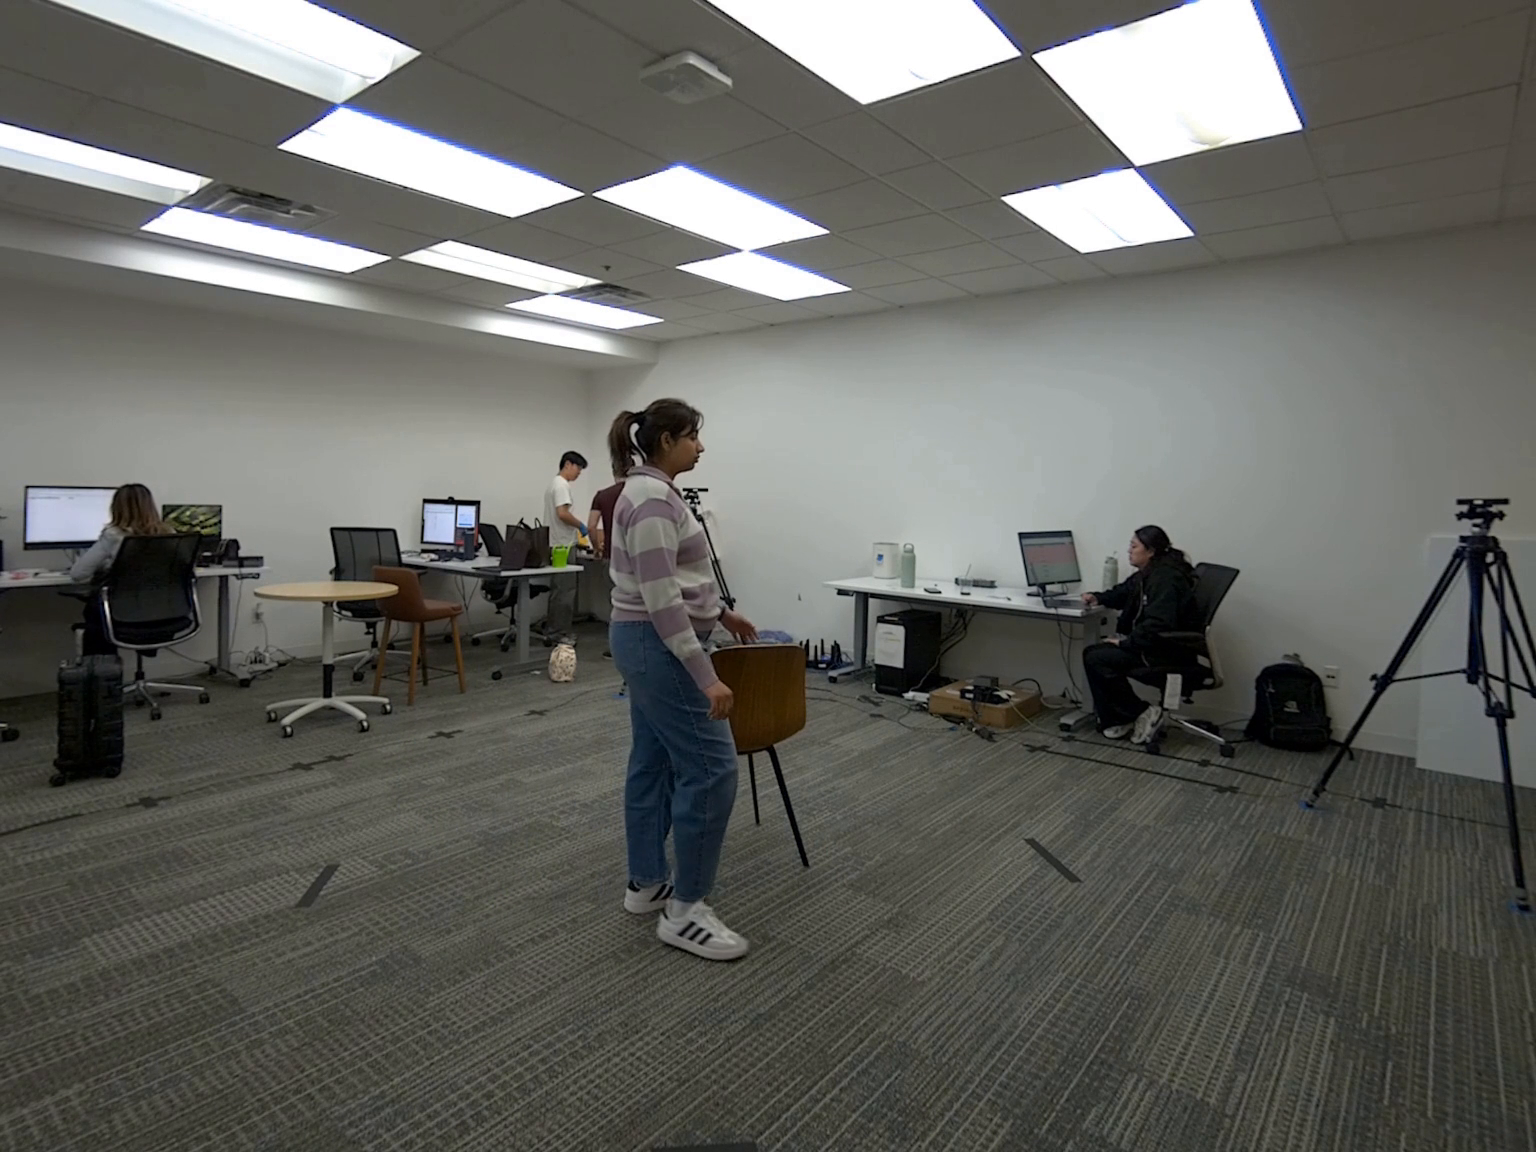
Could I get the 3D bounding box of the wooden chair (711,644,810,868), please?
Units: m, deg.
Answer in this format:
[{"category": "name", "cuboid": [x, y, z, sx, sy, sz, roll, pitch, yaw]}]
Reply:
[{"category": "wooden chair", "cuboid": [-0.152, 0.629, 3.254, 0.467, 0.872, 0.538, -1, 8, -24]}]
